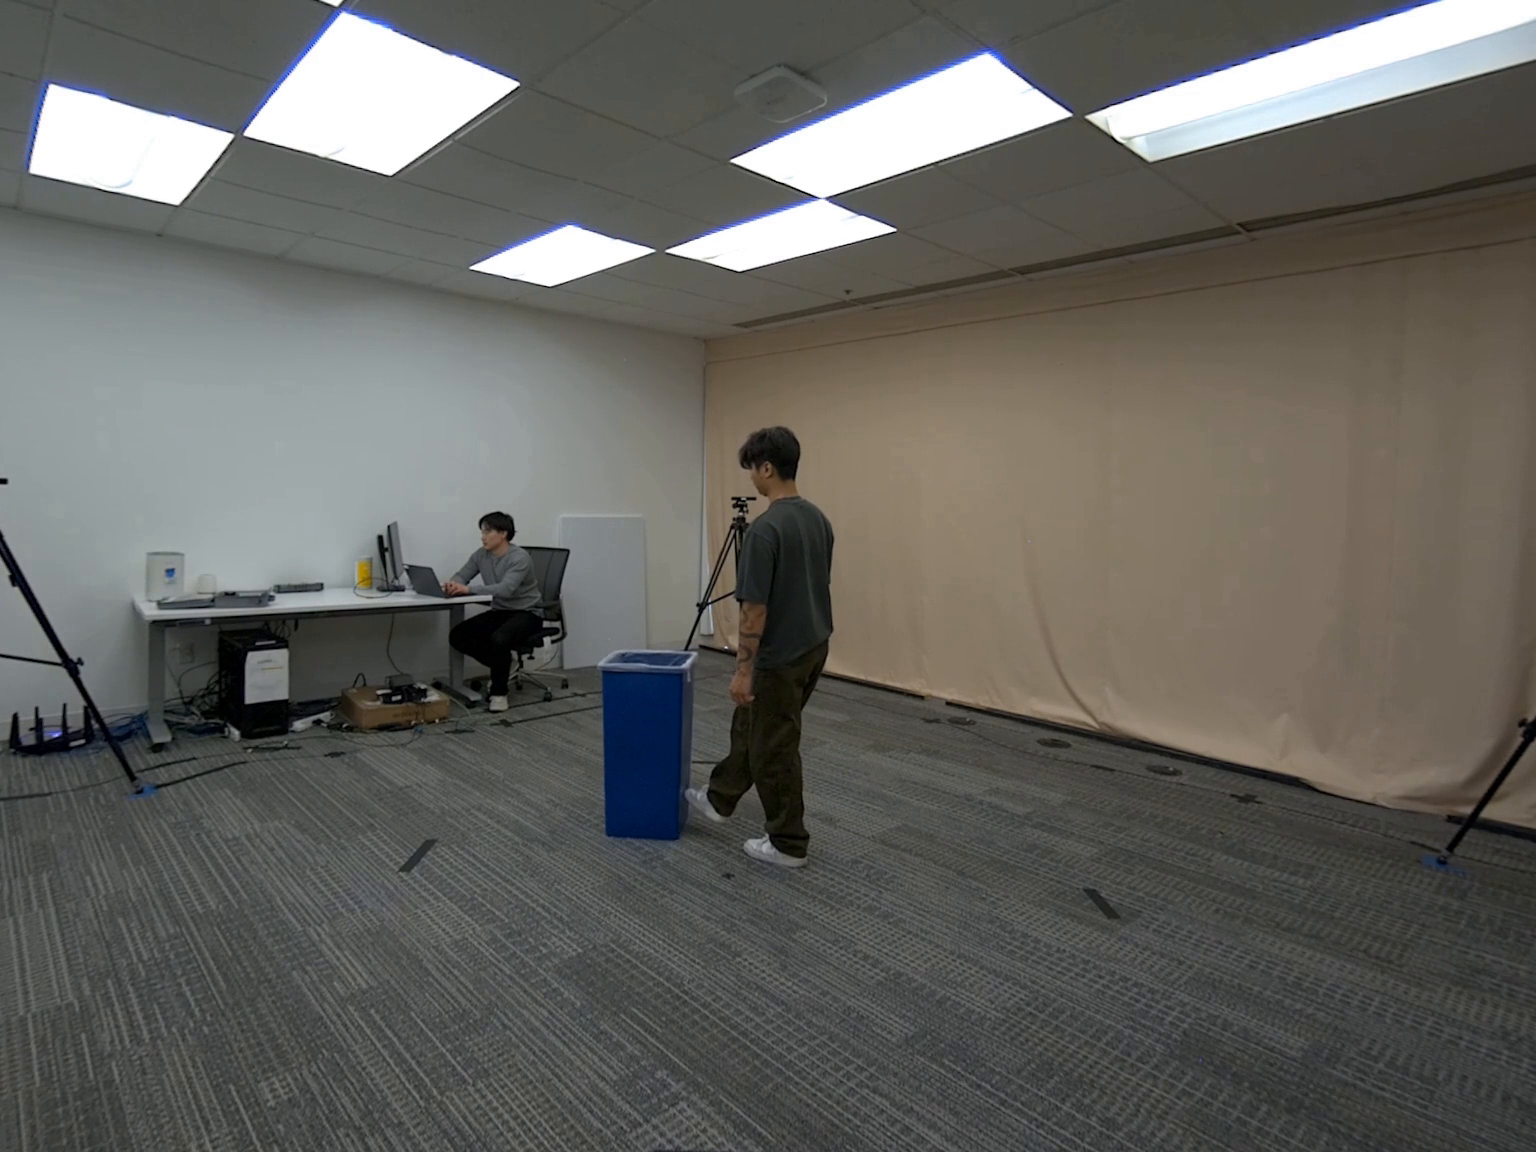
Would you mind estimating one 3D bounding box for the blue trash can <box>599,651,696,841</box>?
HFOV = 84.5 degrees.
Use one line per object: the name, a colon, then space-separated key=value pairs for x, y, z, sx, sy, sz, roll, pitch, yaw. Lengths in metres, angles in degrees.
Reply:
blue trash can: x=-0.511 y=0.704 z=3.563 sx=0.380 sy=0.712 sz=0.372 roll=0 pitch=2 yaw=6
